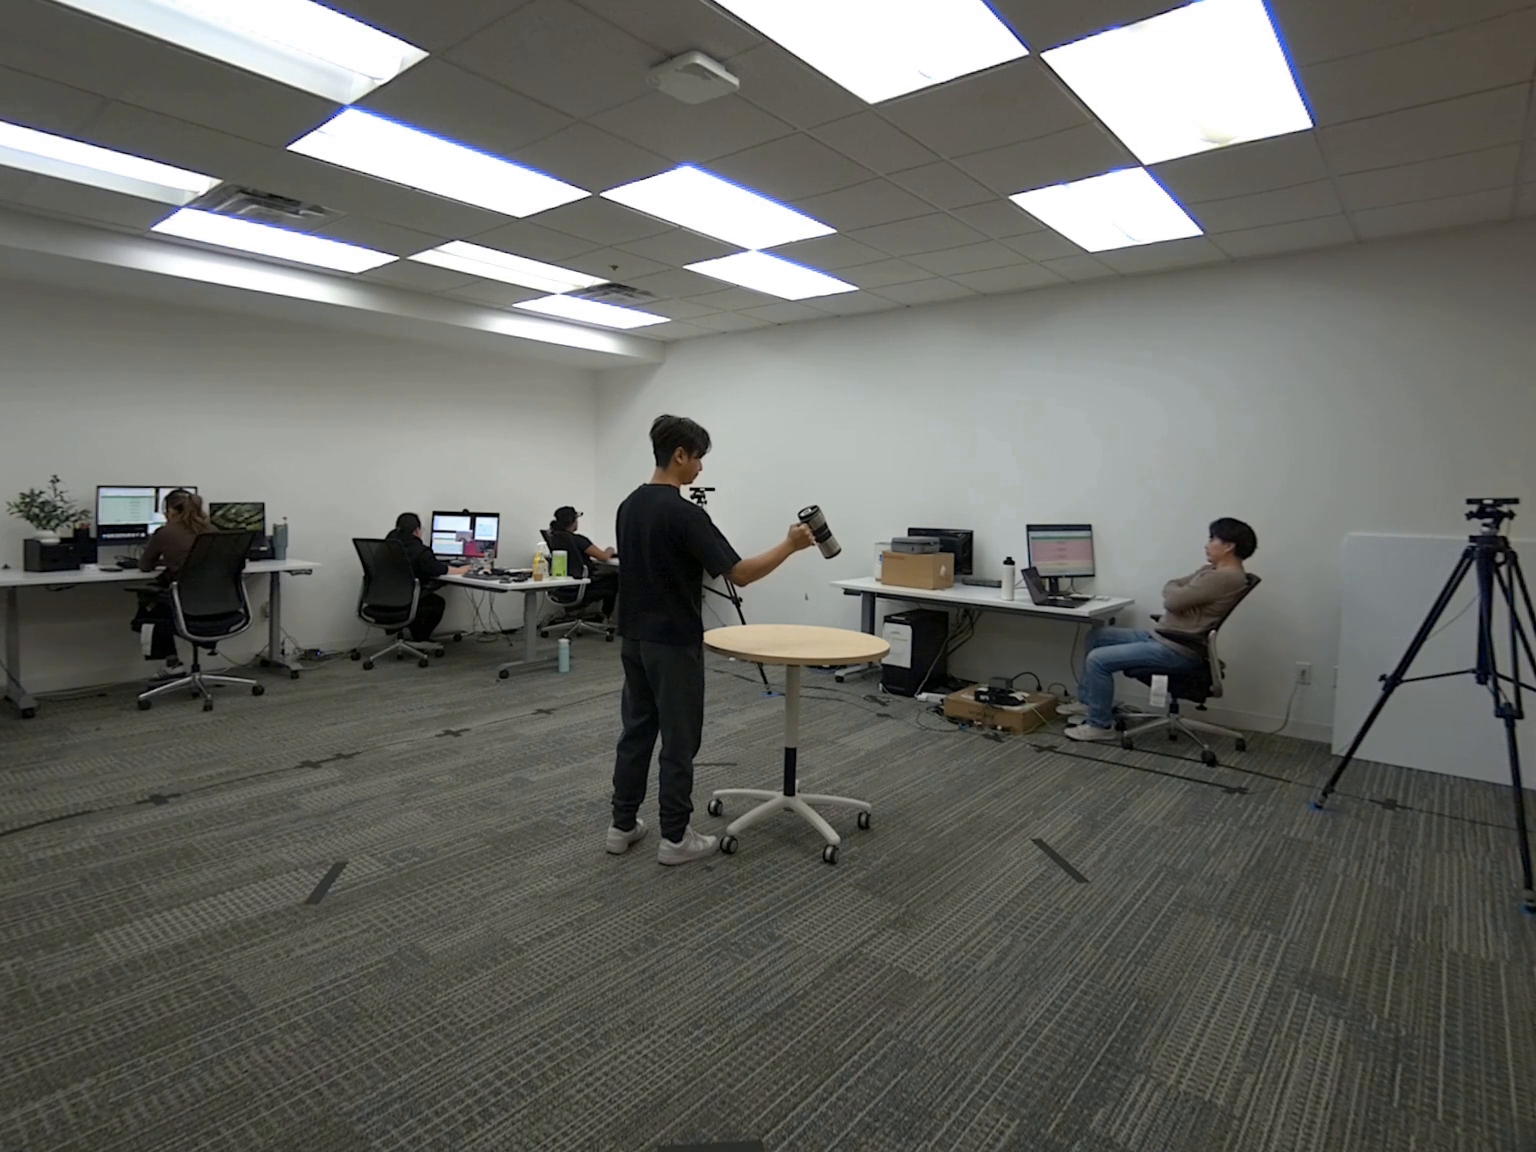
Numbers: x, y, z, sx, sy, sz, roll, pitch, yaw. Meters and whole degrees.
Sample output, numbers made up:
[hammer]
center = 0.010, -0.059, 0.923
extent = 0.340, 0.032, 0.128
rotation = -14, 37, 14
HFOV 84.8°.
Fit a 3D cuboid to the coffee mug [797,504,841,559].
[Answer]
[coffee mug]
center = 0.170, -0.156, 3.189
extent = 0.122, 0.198, 0.090
rotation = -28, 17, 0
